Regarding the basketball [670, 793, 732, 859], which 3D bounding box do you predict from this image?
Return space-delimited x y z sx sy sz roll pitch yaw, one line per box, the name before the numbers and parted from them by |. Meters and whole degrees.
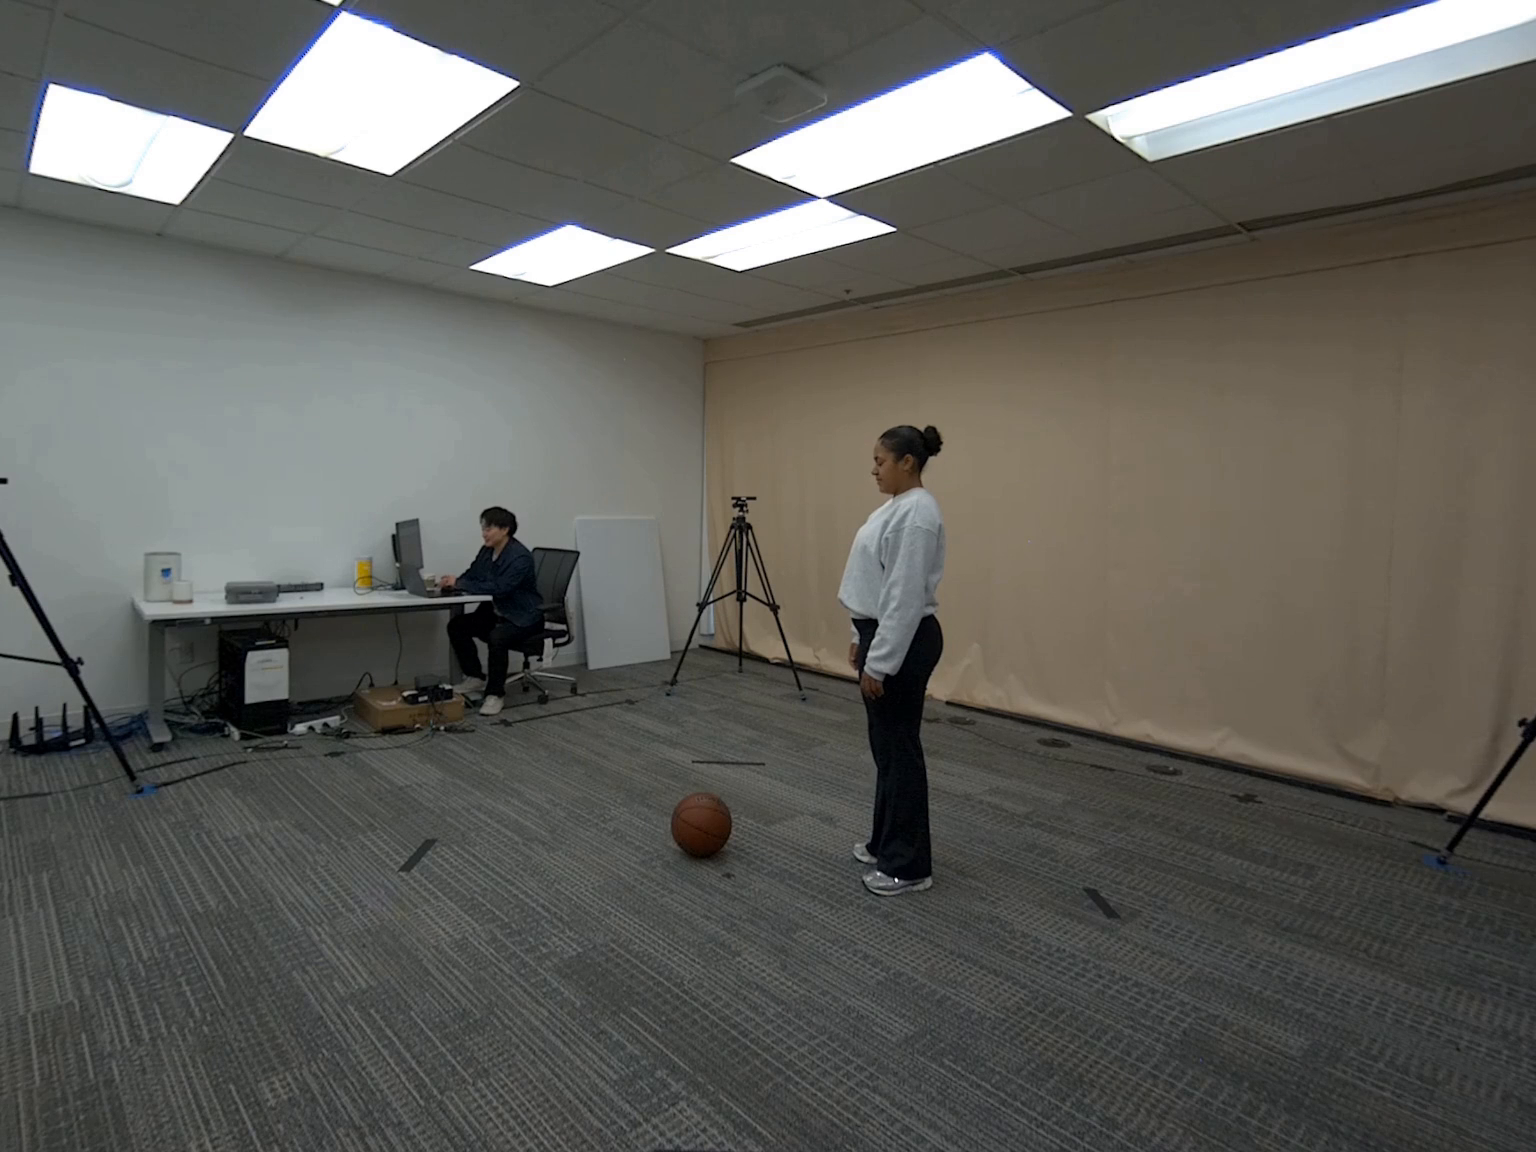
basketball | -0.264 0.960 3.284 0.236 0.235 0.237 1 4 -1
